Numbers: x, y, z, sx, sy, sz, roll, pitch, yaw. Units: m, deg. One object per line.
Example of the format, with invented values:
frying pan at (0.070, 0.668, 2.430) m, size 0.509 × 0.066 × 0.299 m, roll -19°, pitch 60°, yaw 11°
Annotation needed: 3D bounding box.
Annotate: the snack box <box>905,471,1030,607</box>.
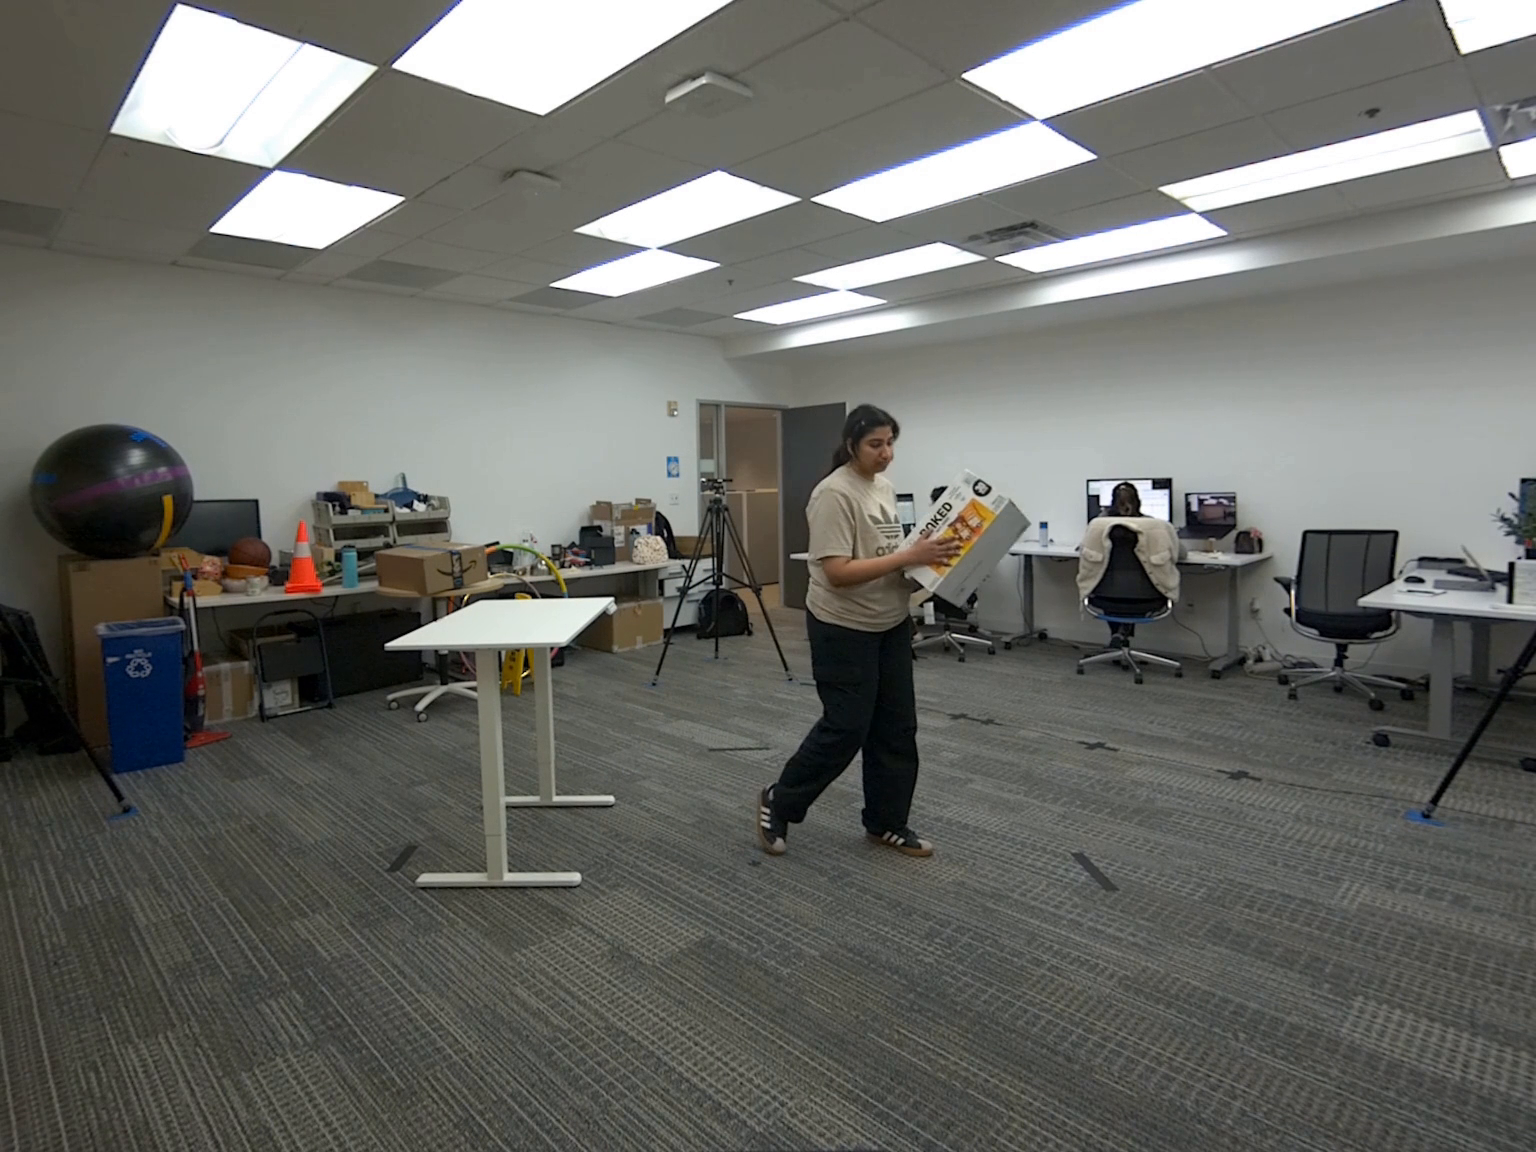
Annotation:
snack box at (0.680, -0.125, 3.060) m, size 0.213 × 0.404 × 0.329 m, roll 43°, pitch 11°, yaw 31°
